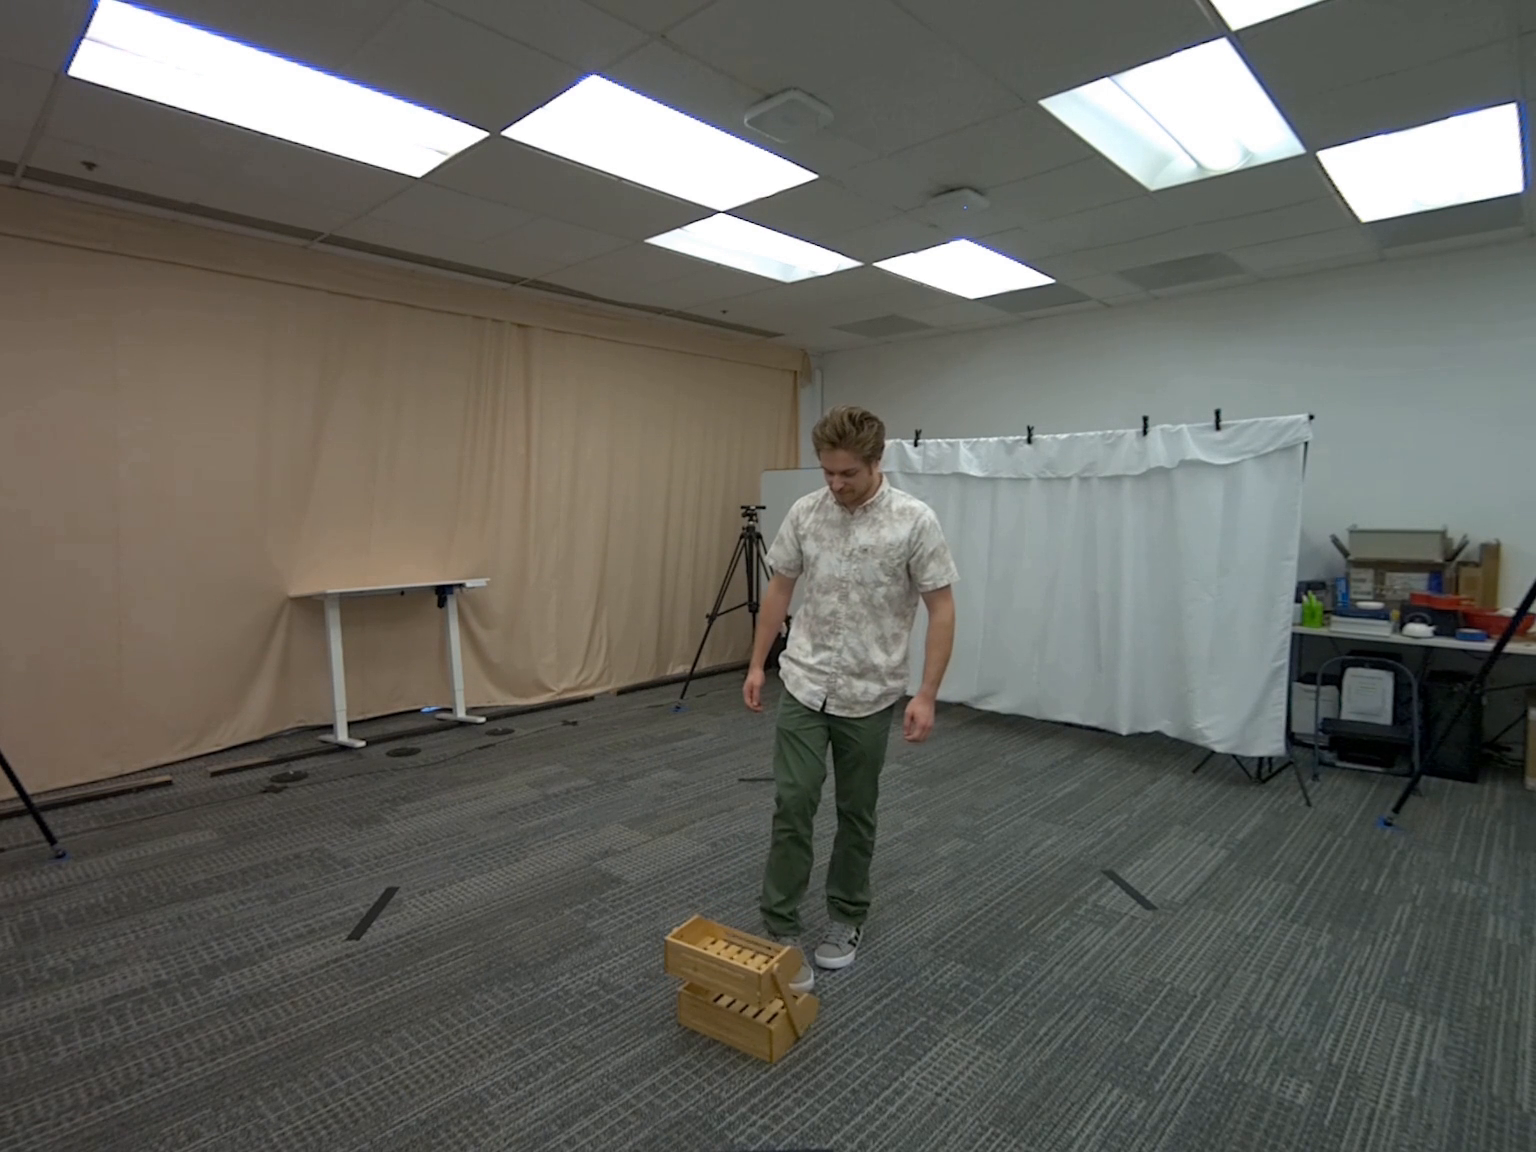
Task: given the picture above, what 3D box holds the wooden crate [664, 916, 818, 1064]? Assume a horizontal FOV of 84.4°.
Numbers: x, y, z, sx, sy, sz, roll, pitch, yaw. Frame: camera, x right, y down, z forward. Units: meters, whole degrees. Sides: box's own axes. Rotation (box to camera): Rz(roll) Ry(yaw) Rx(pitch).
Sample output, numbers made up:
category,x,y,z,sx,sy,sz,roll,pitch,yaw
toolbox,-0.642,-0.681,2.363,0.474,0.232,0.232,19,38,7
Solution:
category,x,y,z,sx,sy,sz,roll,pitch,yaw
wooden crate,-0.066,1.073,2.253,0.334,0.272,0.294,2,5,33
